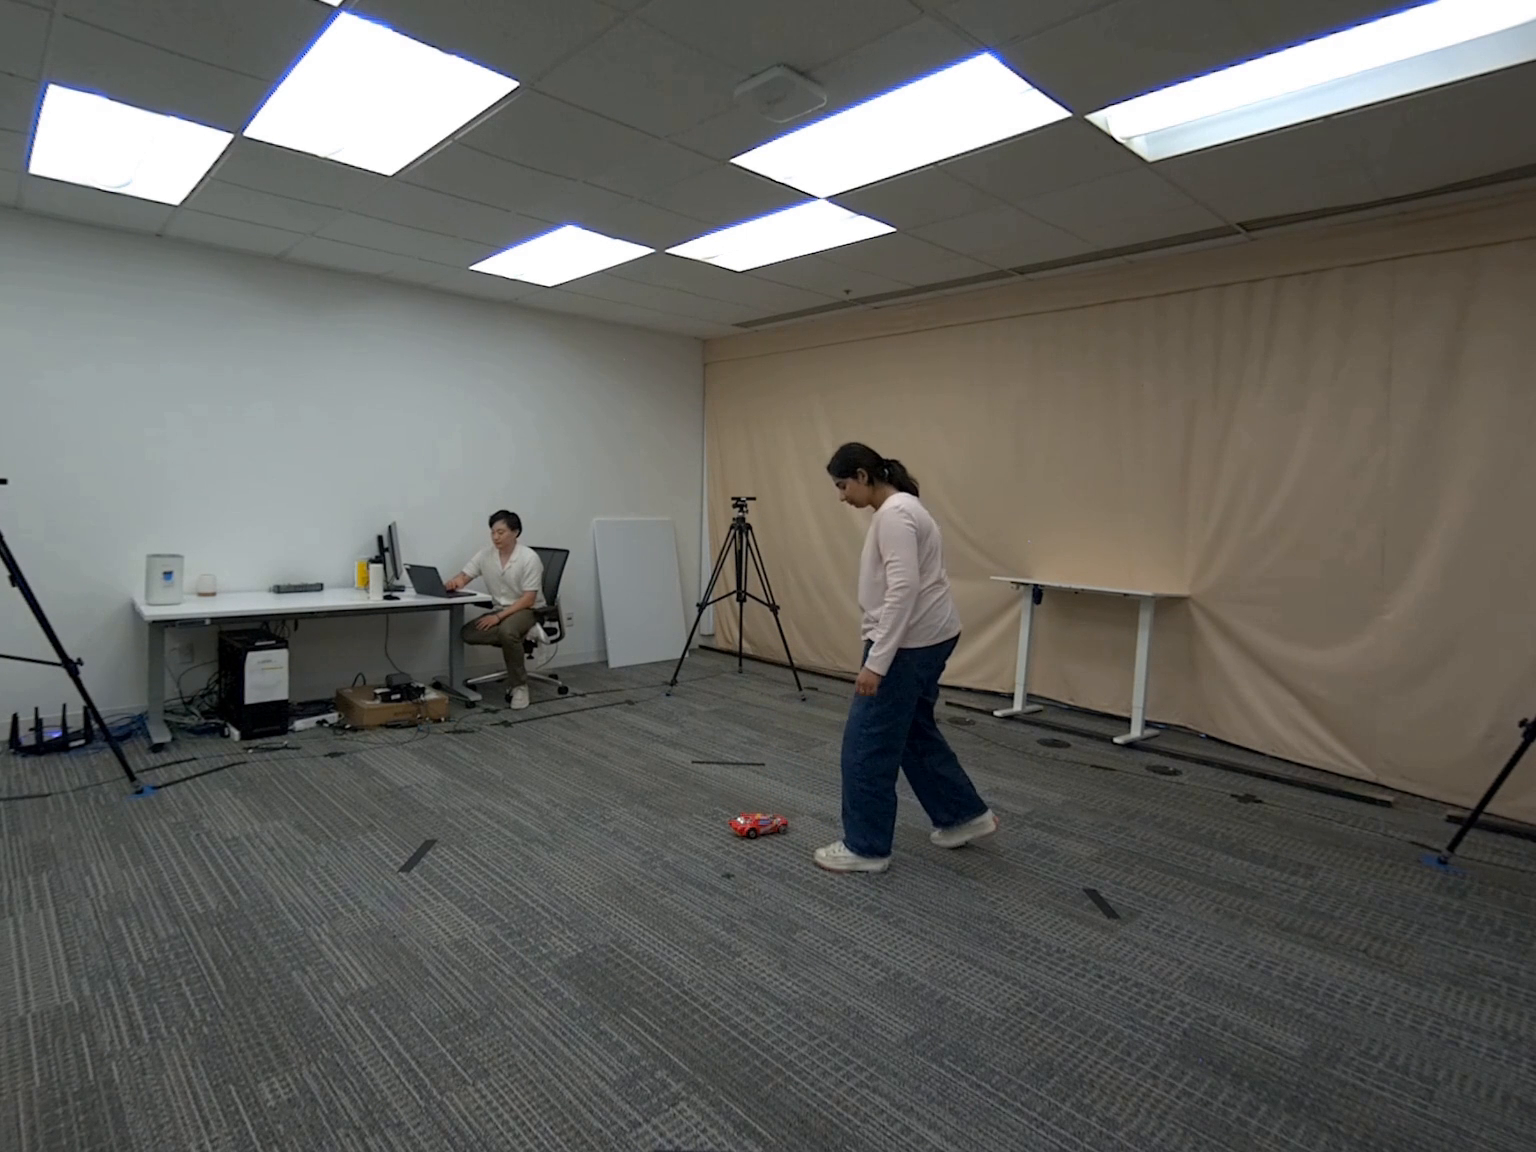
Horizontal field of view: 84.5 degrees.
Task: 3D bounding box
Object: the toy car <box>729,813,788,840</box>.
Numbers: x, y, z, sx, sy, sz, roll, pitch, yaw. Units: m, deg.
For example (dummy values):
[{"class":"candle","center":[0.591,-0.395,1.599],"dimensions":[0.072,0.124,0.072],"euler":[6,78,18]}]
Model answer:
[{"class":"toy car","center":[-0.055,1.038,3.517],"dimensions":[0.249,0.083,0.133],"euler":[12,-1,-26]}]
